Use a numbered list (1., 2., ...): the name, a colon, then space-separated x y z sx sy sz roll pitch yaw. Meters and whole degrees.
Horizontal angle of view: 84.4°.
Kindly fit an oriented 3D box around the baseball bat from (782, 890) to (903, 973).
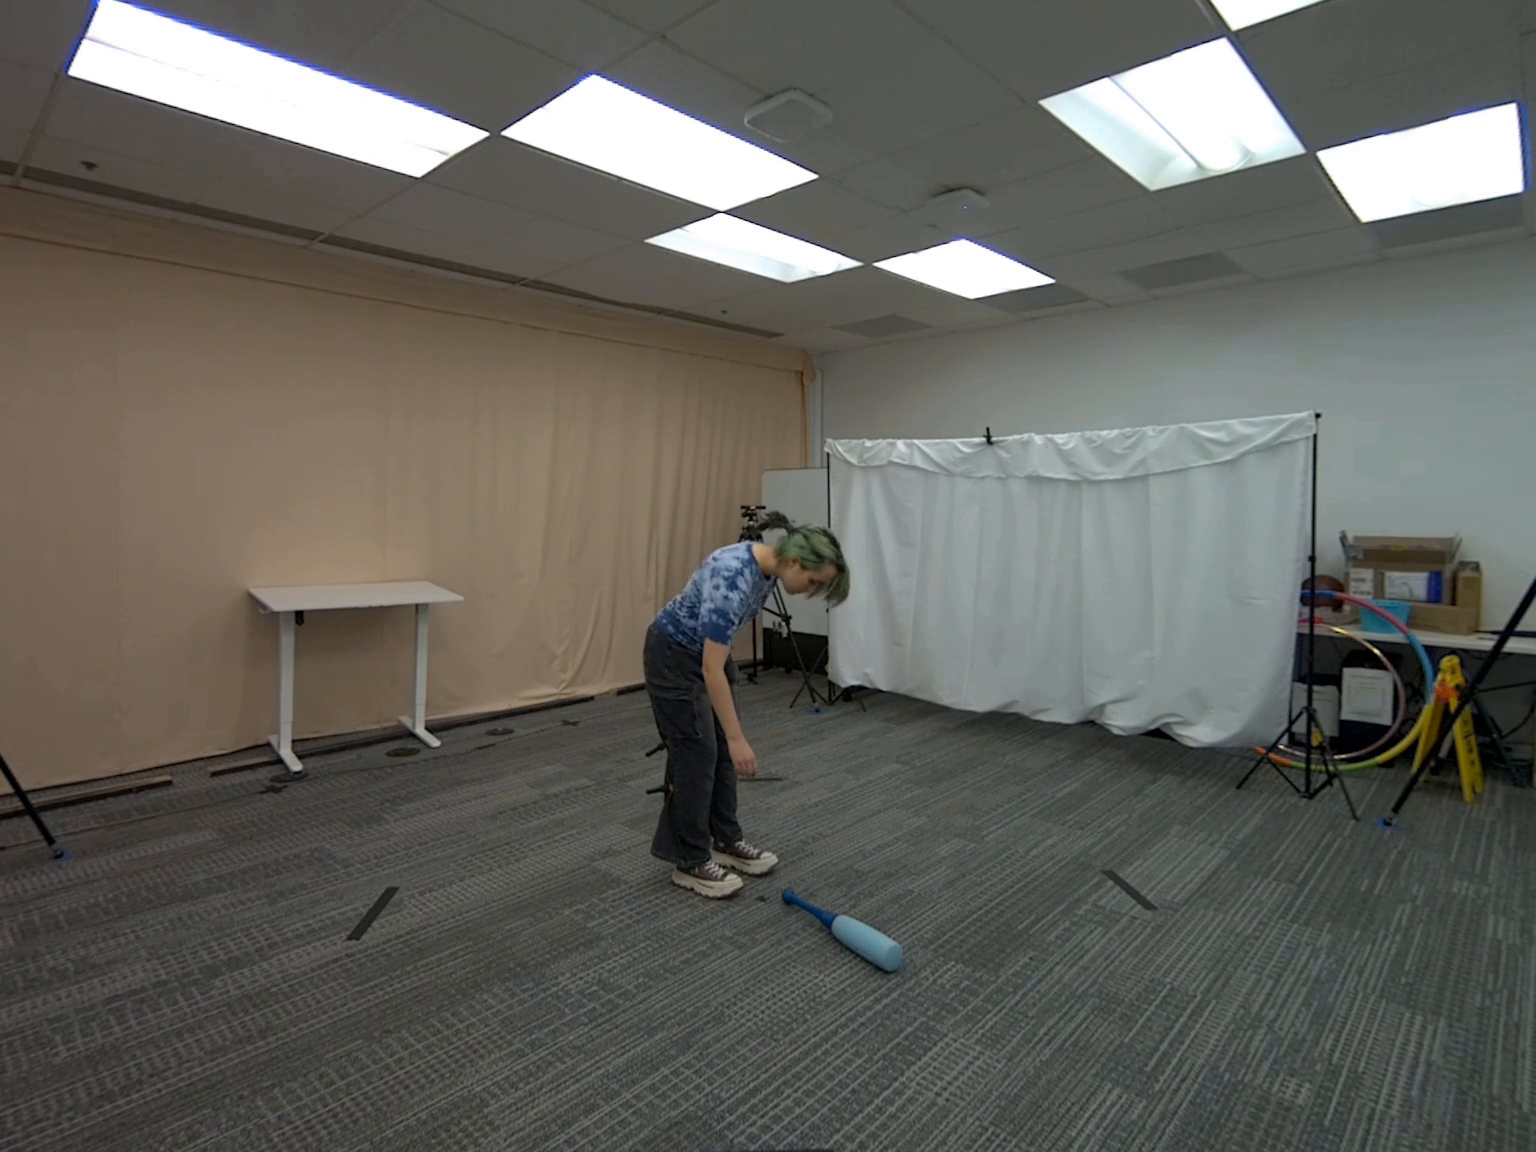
1. baseball bat: 0.223 1.133 2.725 0.086 0.089 0.559 -2 2 -33
